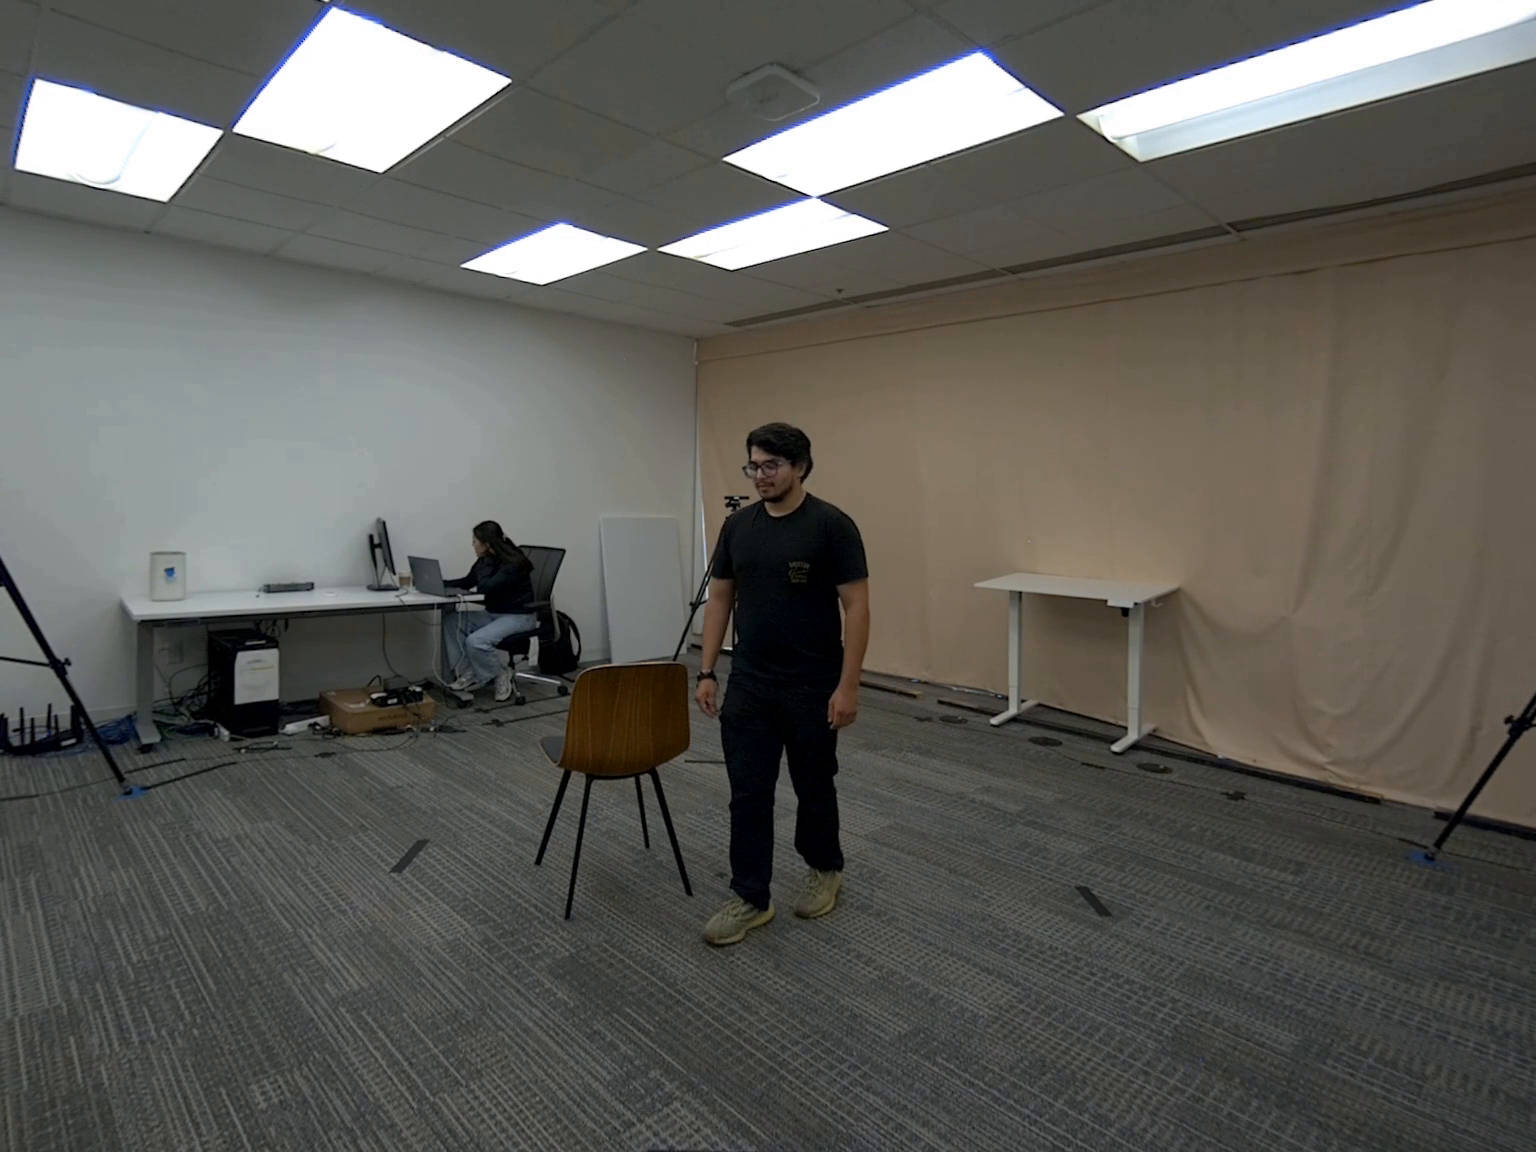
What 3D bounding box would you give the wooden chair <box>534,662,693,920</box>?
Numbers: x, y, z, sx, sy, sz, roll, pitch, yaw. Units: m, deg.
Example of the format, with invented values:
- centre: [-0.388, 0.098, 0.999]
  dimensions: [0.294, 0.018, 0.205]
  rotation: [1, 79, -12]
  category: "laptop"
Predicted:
- centre: [-0.565, 0.677, 3.020]
  dimensions: [0.469, 0.872, 0.536]
  rotation: [-1, 9, -27]
  category: "wooden chair"
